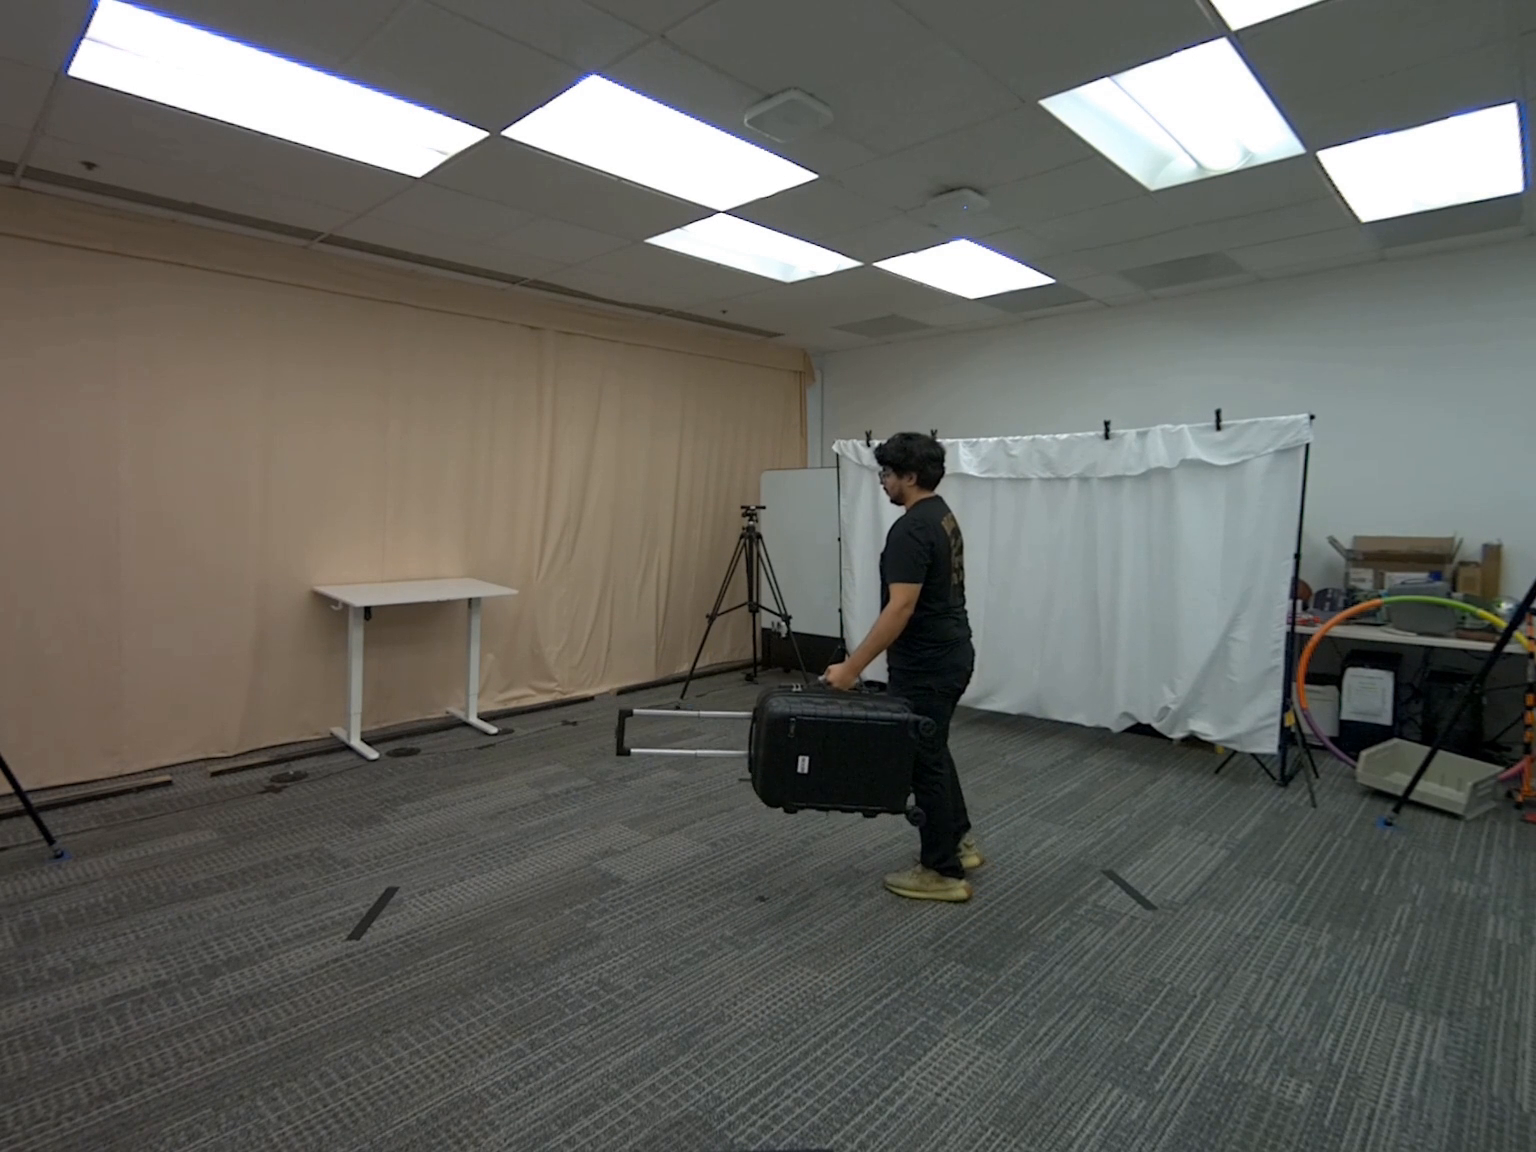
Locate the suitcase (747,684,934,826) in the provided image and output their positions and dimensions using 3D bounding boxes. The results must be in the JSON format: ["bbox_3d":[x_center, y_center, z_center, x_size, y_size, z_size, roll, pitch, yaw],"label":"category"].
[{"bbox_3d":[0.015,0.544,2.702,0.971,0.383,0.260,5,5,-7],"label":"suitcase"}]
